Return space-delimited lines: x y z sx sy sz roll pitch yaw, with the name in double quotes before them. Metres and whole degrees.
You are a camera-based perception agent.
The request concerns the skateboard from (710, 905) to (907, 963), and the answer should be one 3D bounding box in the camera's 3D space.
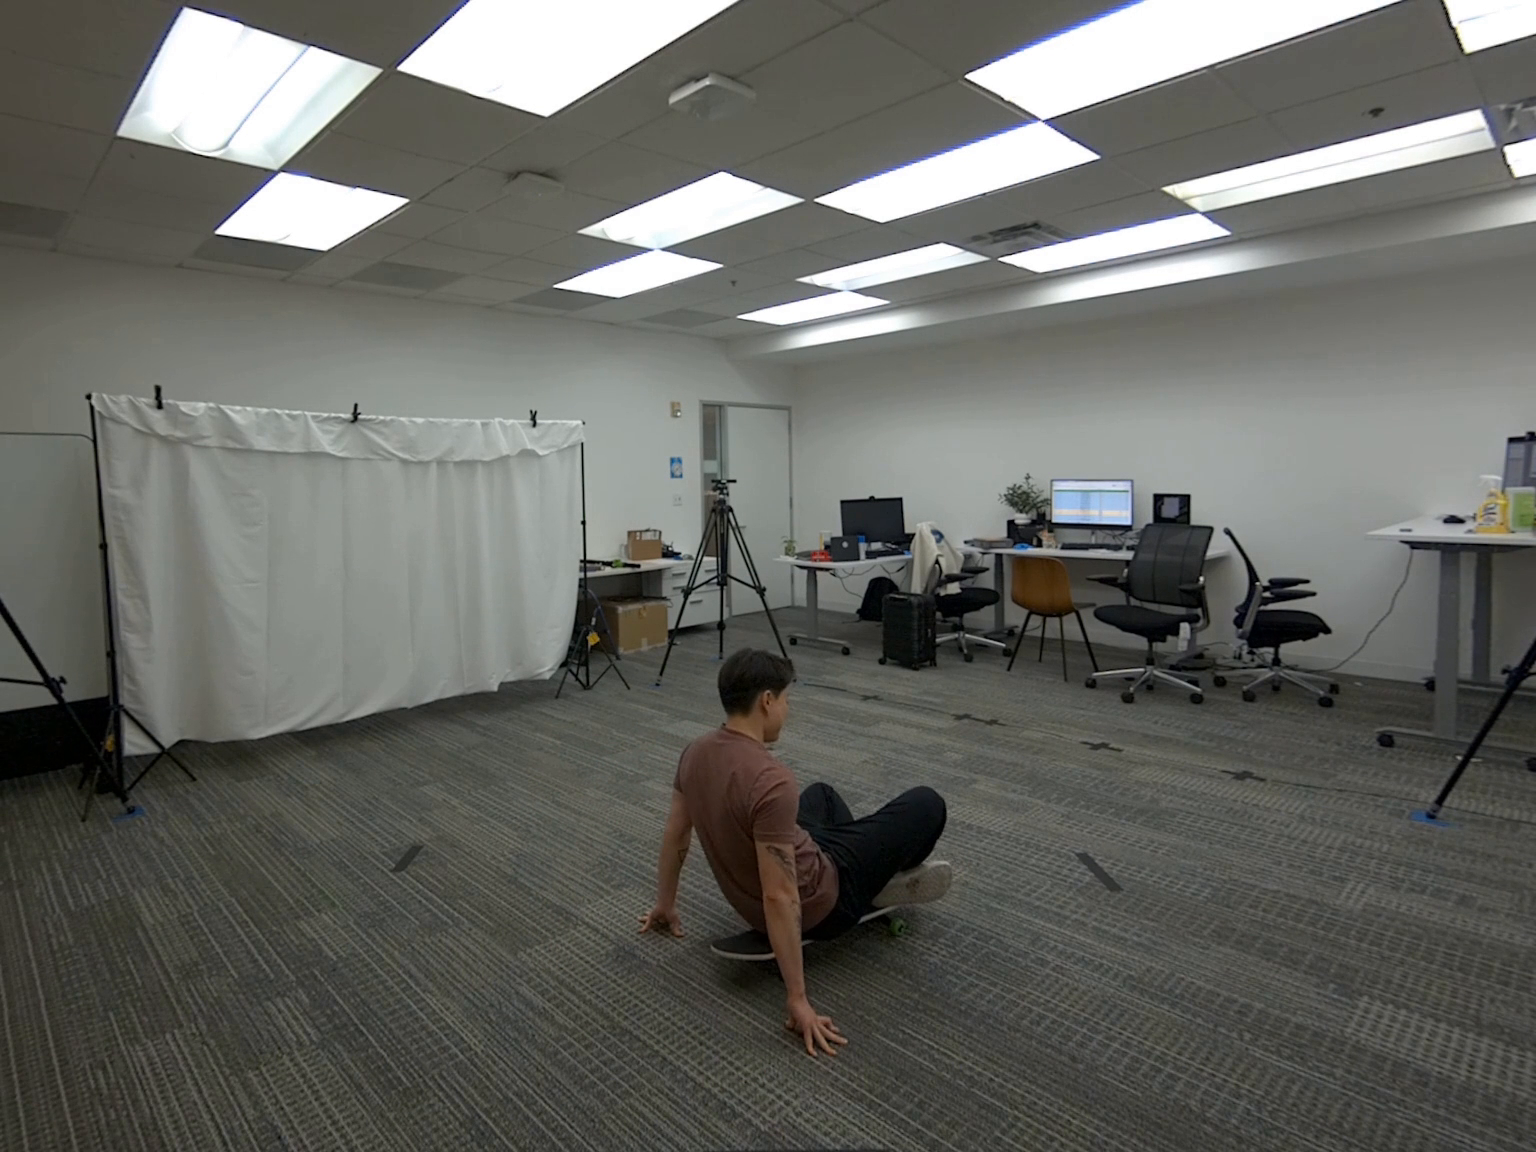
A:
"skateboard" 0.185 1.059 2.569 0.766 0.111 0.197 -6 -3 -33
